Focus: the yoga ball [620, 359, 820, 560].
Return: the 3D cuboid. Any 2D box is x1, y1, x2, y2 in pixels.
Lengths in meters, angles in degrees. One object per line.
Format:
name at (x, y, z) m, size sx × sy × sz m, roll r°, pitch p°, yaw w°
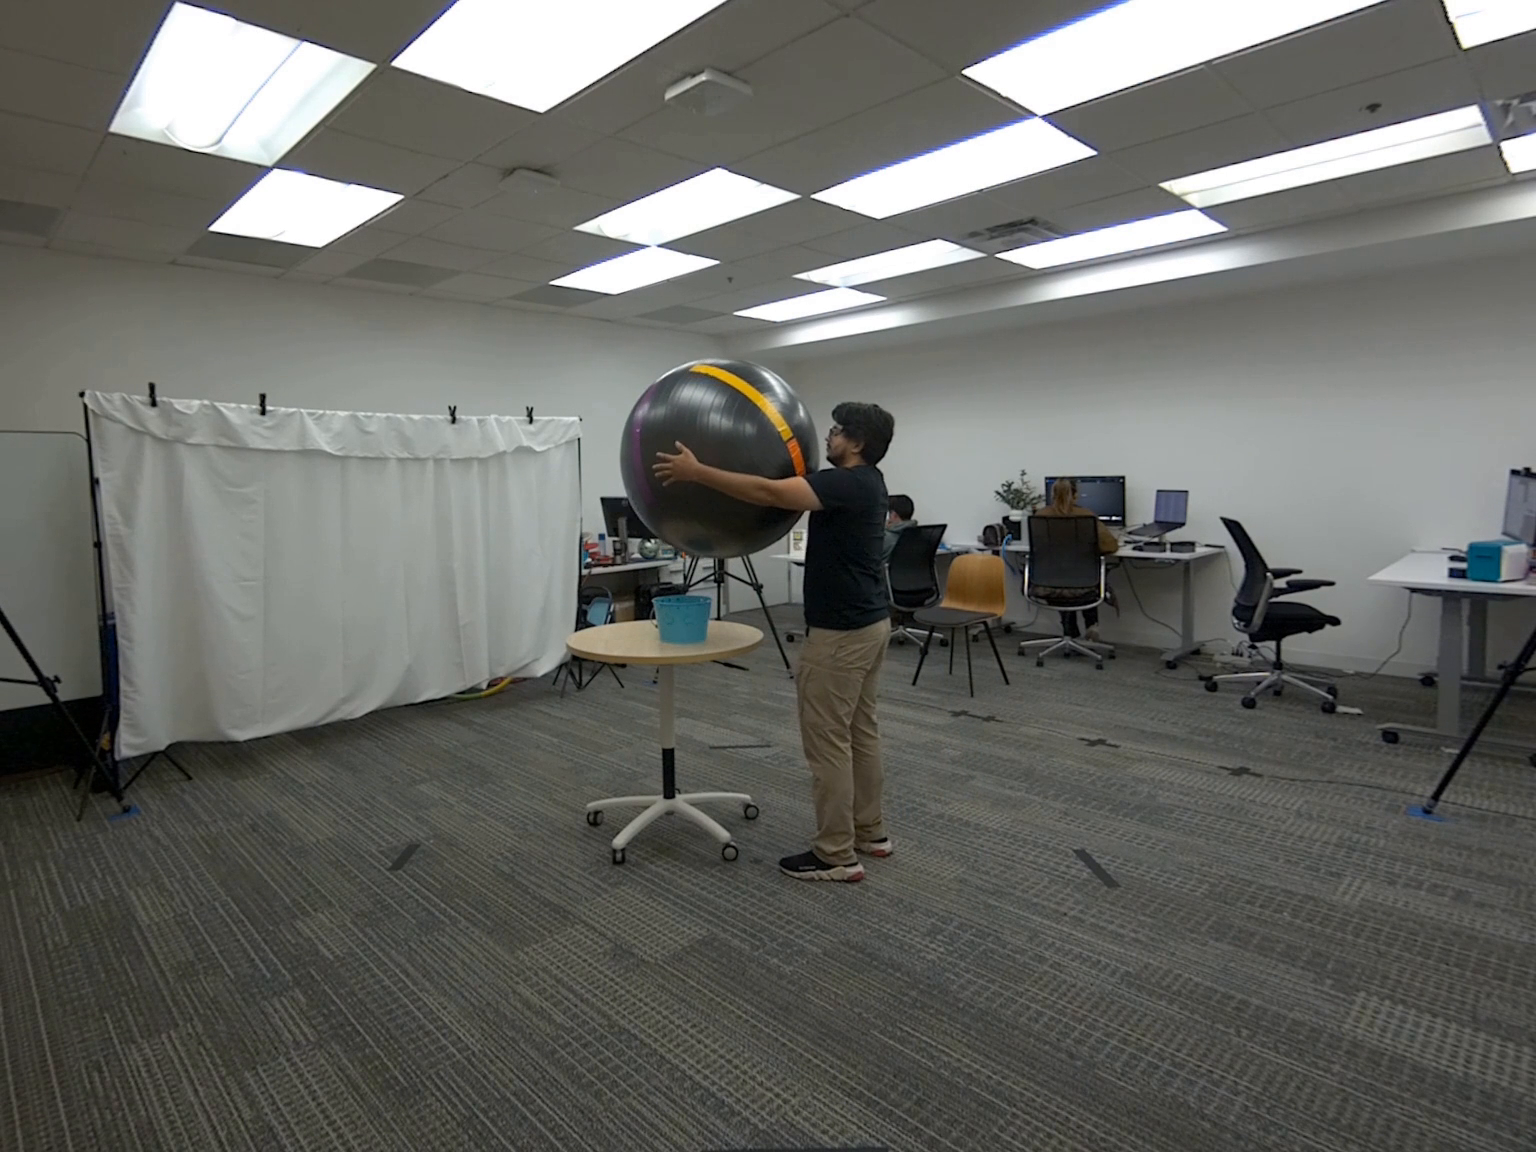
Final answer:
yoga ball at (-0.182, -0.436, 3.253) m, size 0.757 × 0.755 × 0.762 m, roll -1°, pitch 5°, yaw -2°
